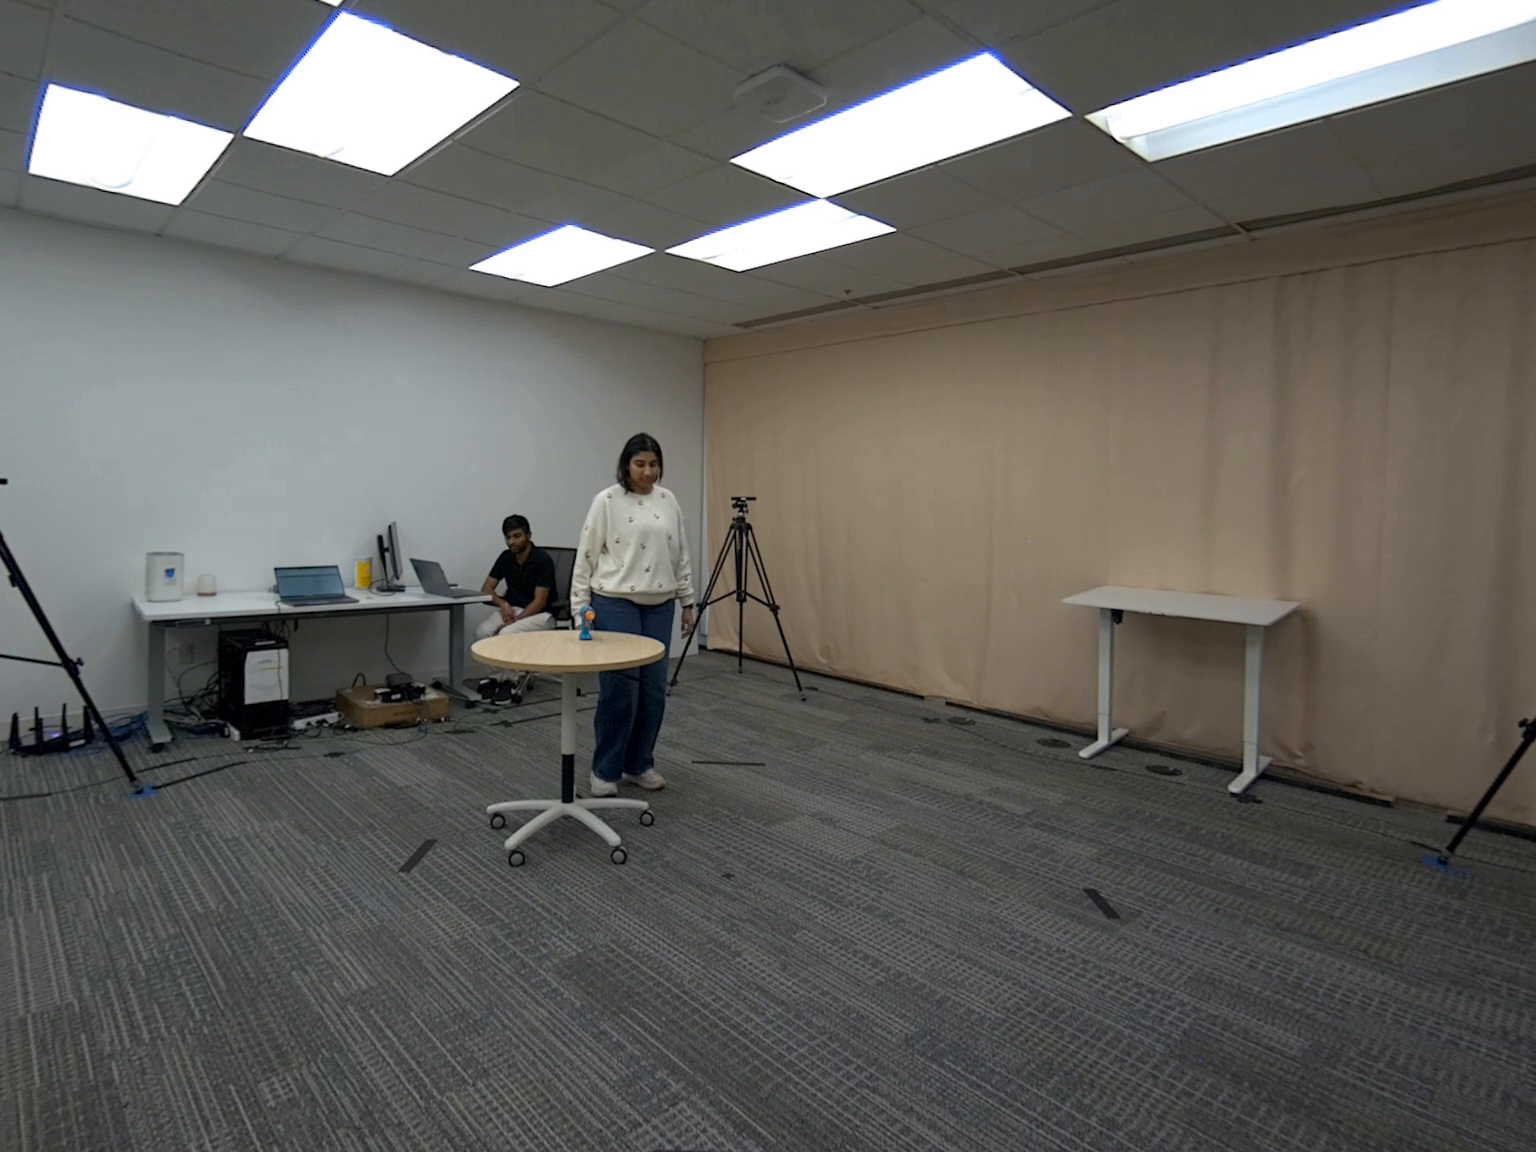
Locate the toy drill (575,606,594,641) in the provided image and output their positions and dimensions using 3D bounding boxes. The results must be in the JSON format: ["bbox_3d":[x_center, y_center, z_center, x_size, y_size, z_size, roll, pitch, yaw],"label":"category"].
[{"bbox_3d":[-0.775,0.199,3.530,0.060,0.146,0.173,5,3,-22],"label":"toy drill"}]
